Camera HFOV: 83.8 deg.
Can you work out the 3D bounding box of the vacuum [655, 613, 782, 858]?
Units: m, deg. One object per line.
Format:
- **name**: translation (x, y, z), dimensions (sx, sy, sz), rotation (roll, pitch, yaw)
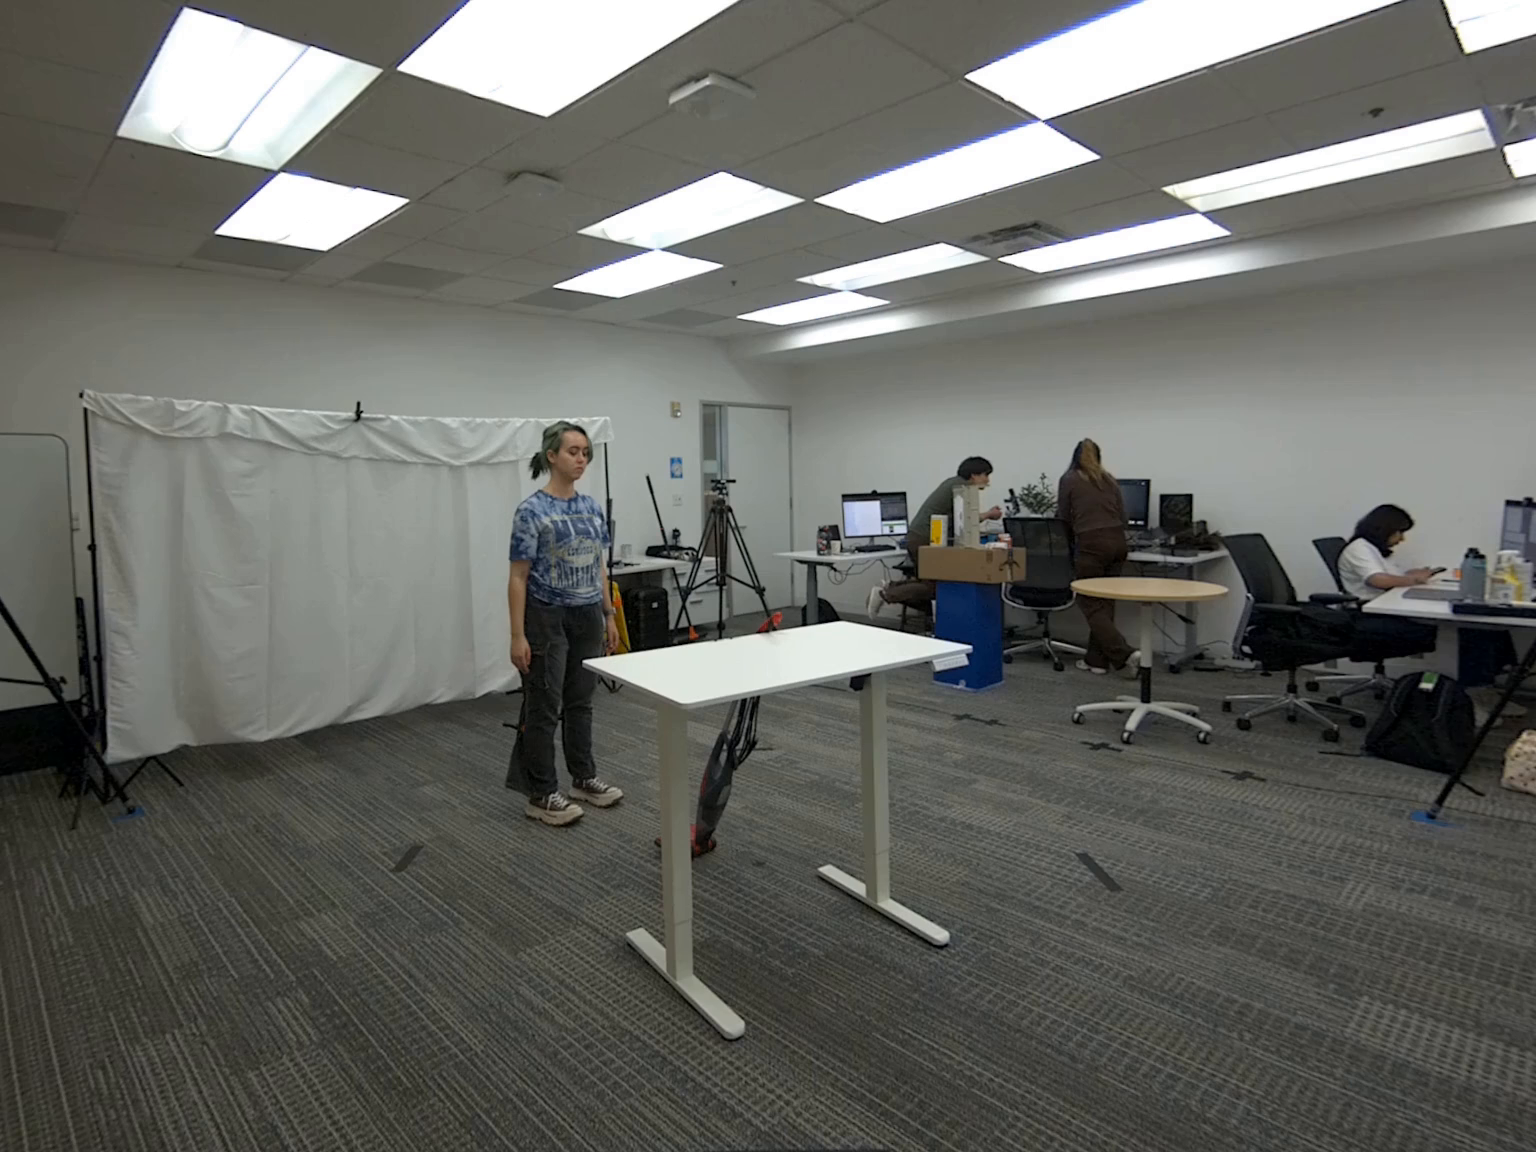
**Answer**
- **vacuum**: translation (-0.125, 0.580, 3.031), dimensions (0.246, 1.037, 0.149), rotation (-4, 34, -44)
